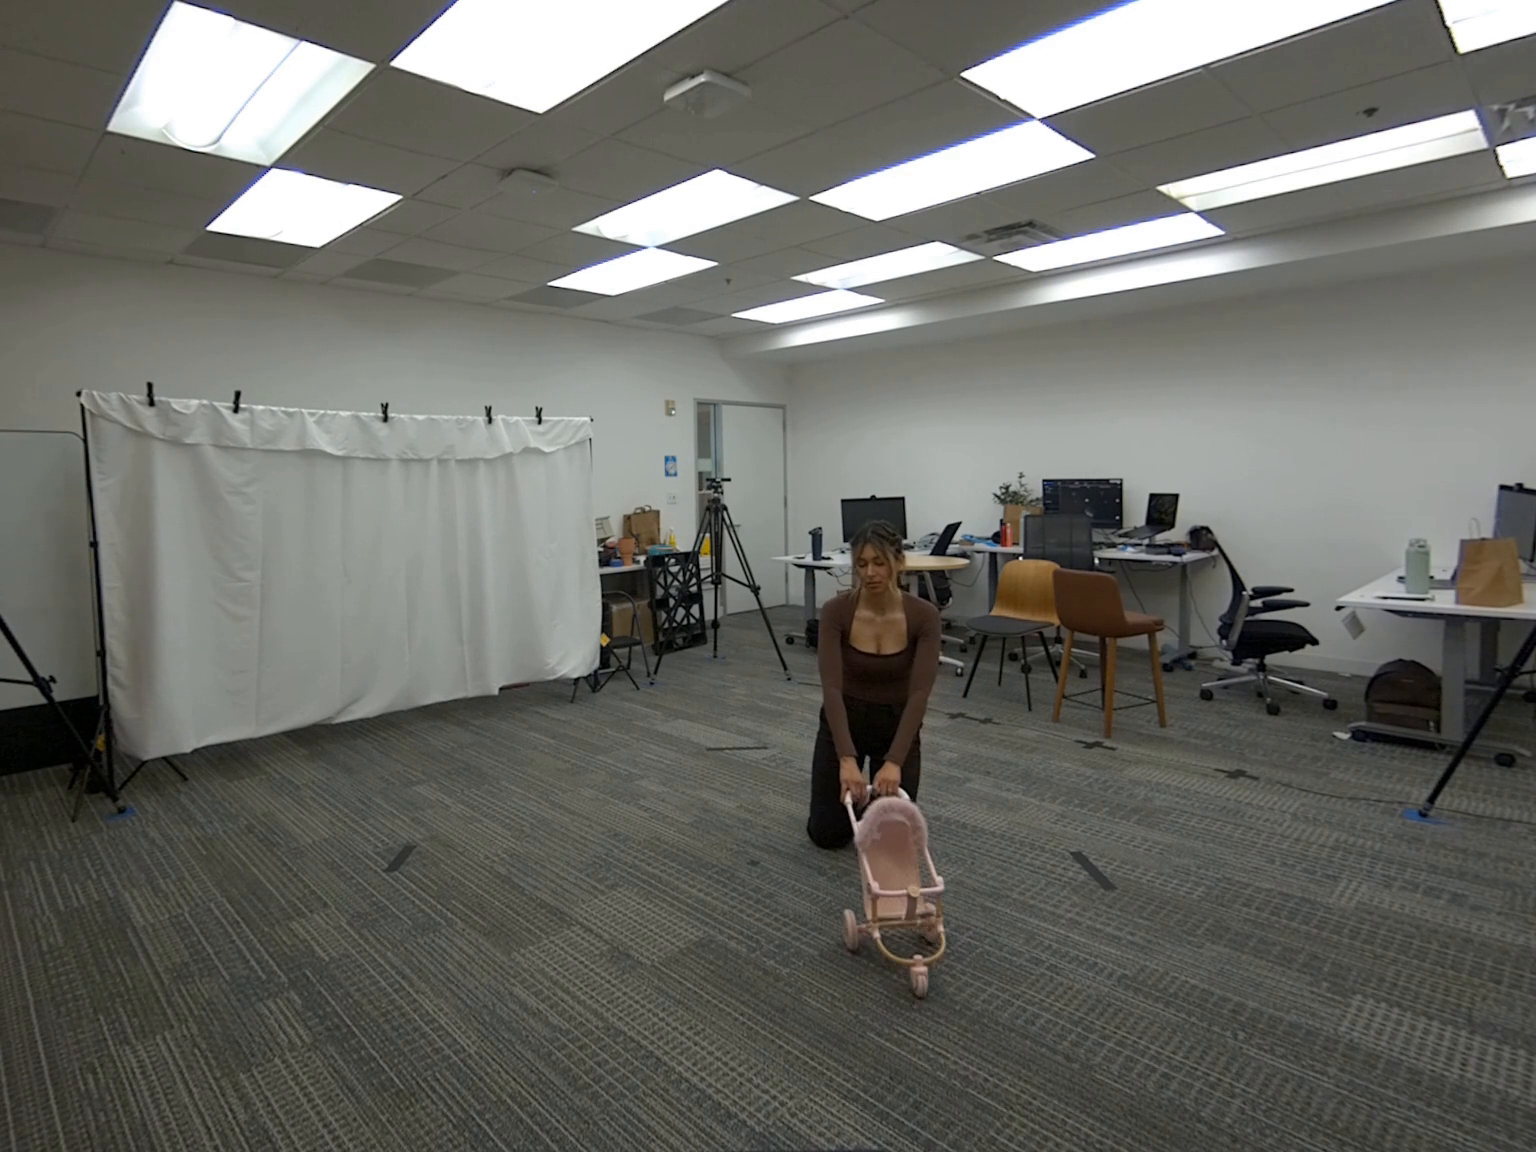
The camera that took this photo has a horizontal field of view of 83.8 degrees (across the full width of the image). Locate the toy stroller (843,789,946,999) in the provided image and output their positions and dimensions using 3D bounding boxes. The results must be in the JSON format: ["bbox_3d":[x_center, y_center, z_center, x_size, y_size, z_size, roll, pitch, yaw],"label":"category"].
[{"bbox_3d":[0.368,0.889,2.476,0.280,0.541,0.338,-2,-12,-4],"label":"toy stroller"}]
